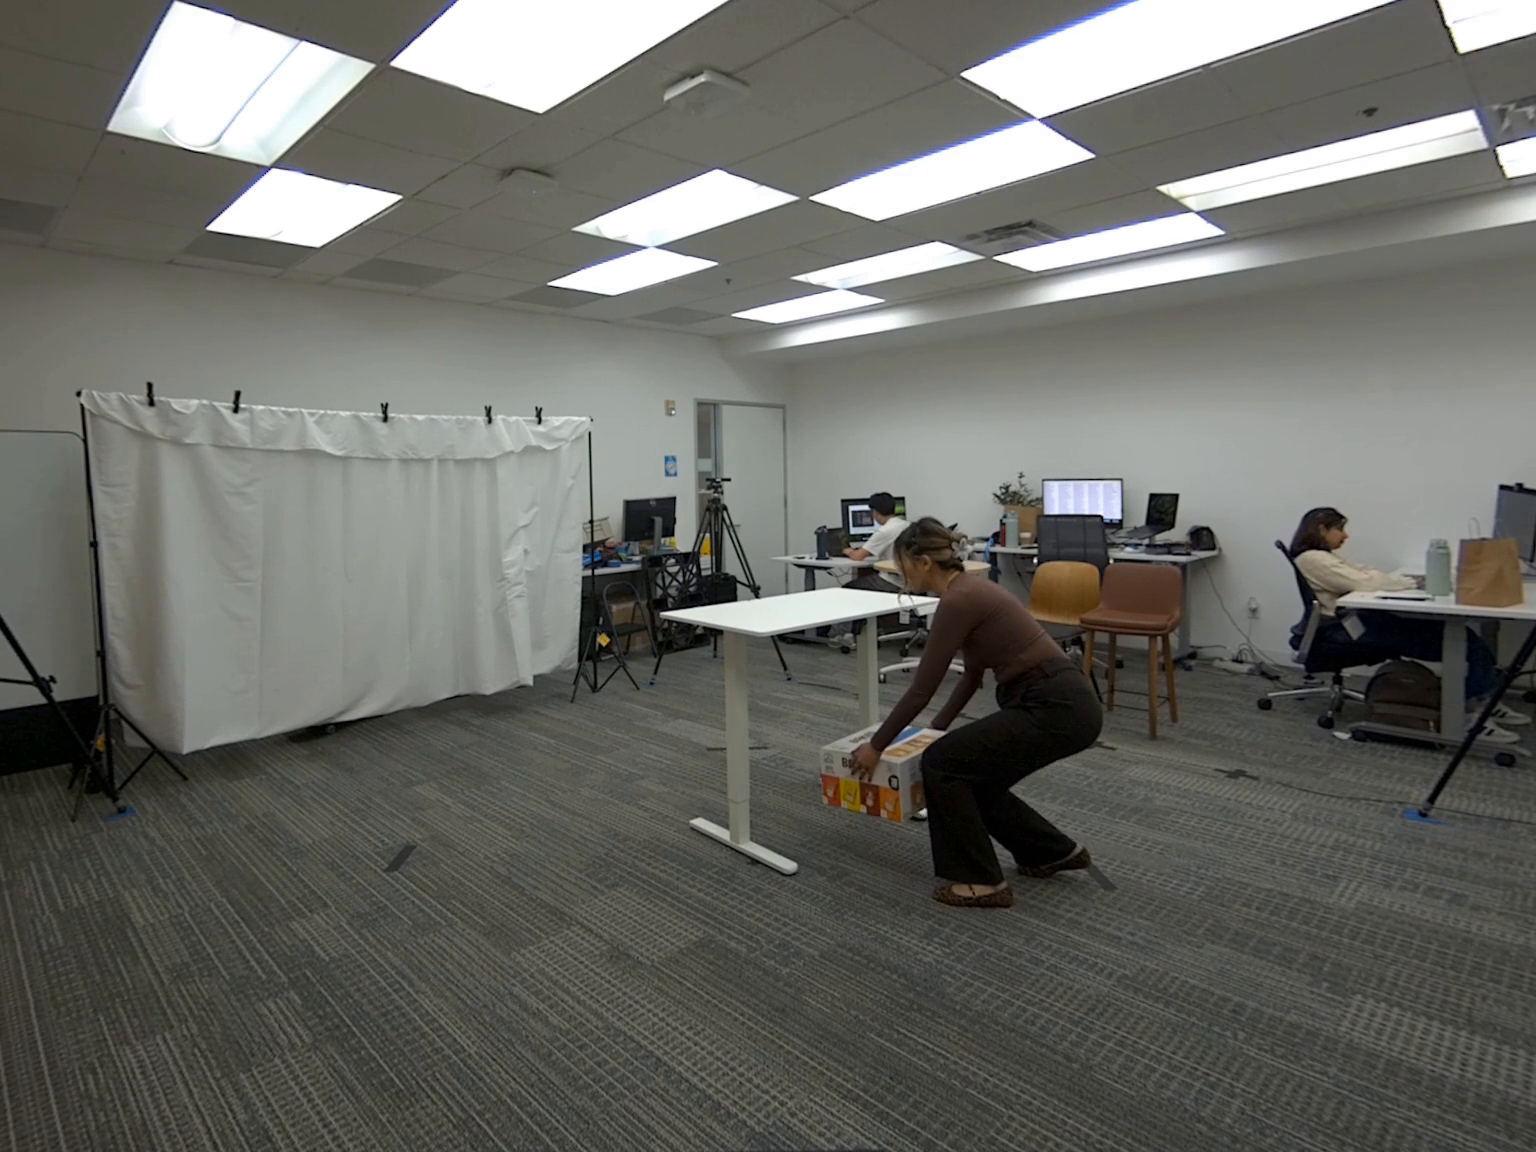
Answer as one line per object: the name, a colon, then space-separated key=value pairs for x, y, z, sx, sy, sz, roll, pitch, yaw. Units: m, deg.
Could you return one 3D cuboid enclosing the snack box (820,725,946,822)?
snack box: x=0.454 y=0.703 z=3.119 sx=0.350 sy=0.205 sz=0.395 roll=0 pitch=6 yaw=43
